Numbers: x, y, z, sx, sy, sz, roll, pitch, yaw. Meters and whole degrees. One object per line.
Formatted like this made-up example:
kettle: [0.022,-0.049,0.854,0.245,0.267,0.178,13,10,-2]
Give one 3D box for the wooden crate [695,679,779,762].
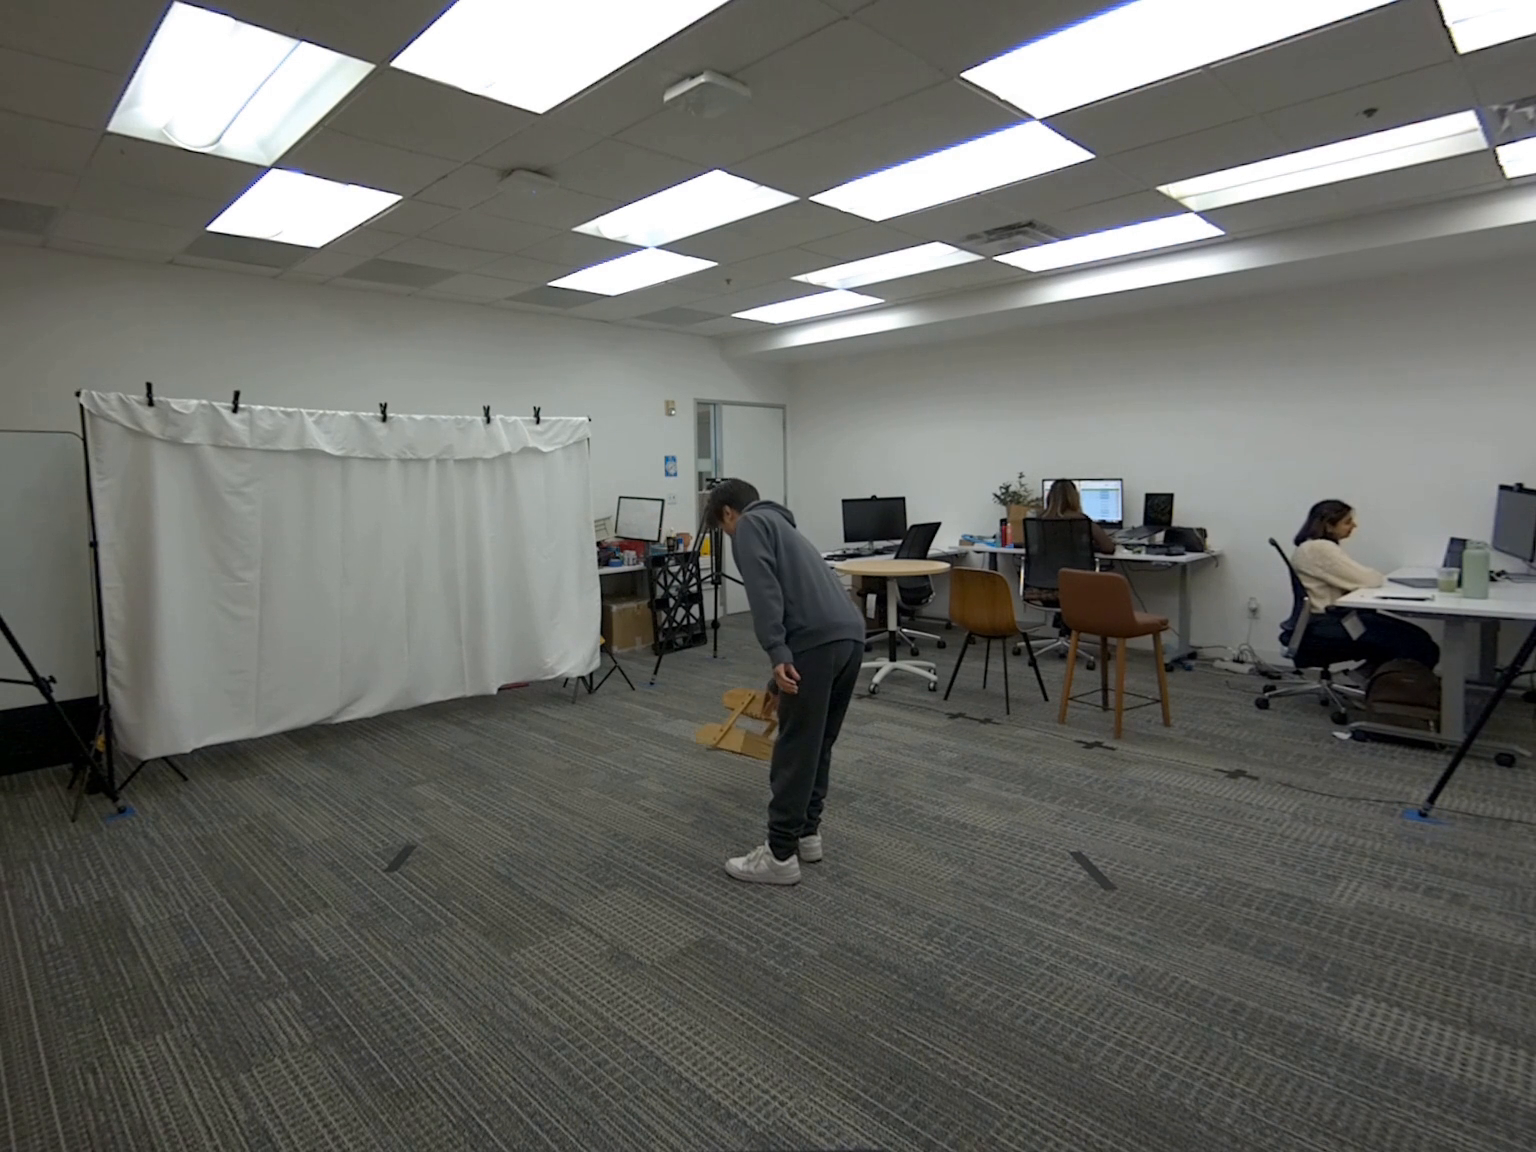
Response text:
wooden crate: [-0.101,0.640,3.724,0.311,0.276,0.312,6,-17,32]
